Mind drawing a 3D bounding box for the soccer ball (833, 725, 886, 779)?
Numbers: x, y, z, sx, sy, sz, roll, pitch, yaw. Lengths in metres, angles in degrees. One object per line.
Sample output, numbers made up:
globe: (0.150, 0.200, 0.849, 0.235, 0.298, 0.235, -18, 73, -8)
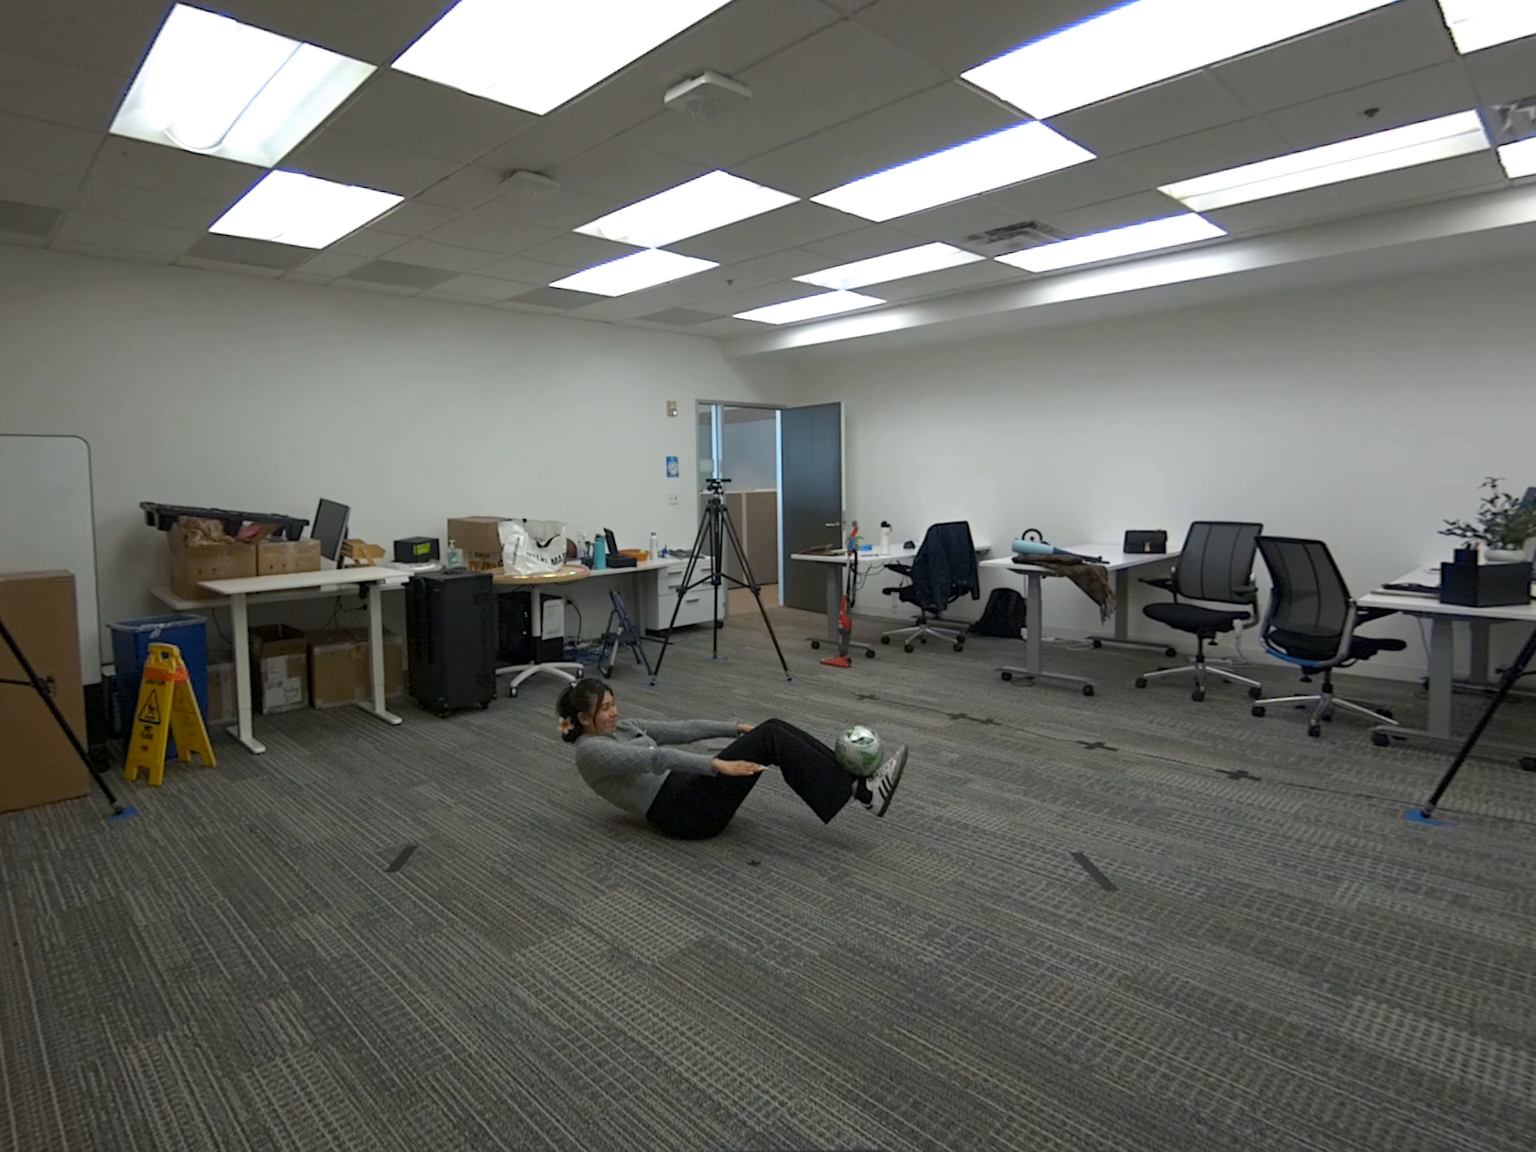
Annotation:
soccer ball: (0.348, 0.661, 3.250, 0.187, 0.187, 0.188, -1, 5, -2)
